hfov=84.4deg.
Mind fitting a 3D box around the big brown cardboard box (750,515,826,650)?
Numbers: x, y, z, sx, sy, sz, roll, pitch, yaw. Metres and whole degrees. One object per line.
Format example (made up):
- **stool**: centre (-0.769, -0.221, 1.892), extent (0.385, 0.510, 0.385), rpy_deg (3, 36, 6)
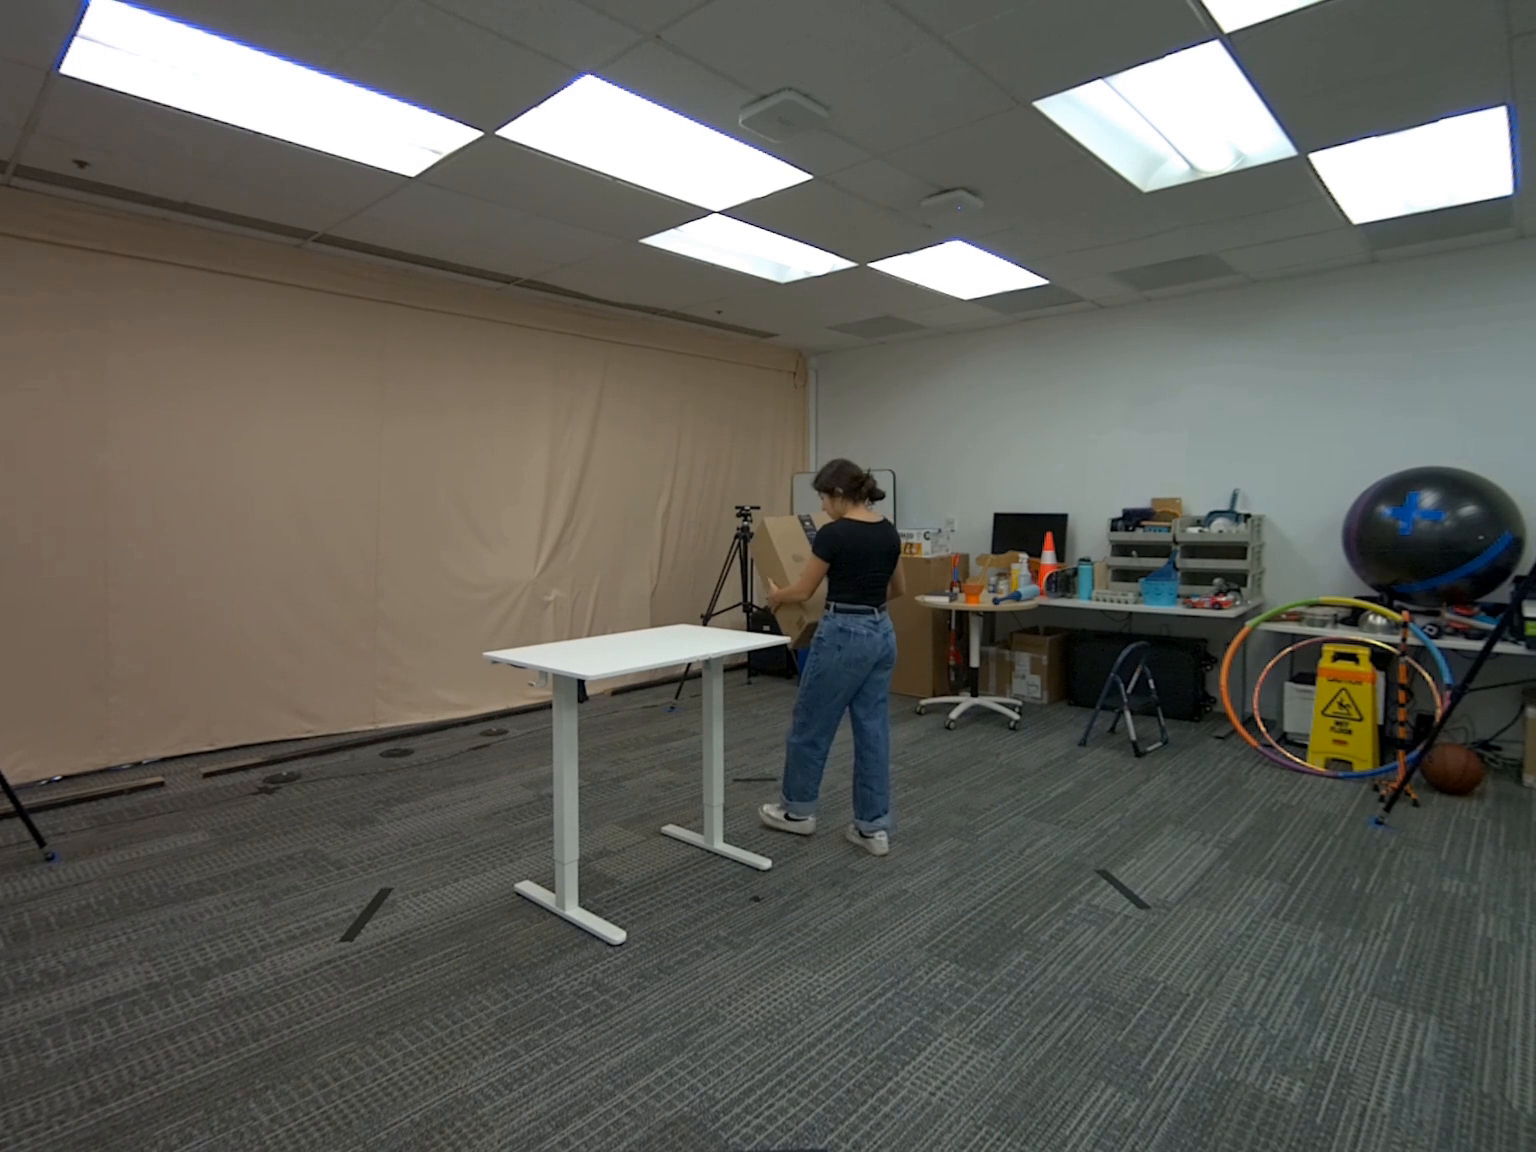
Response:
- **big brown cardboard box**: centre (0.215, 0.006, 3.783), extent (0.408, 0.604, 0.232), rpy_deg (-5, -35, -25)
